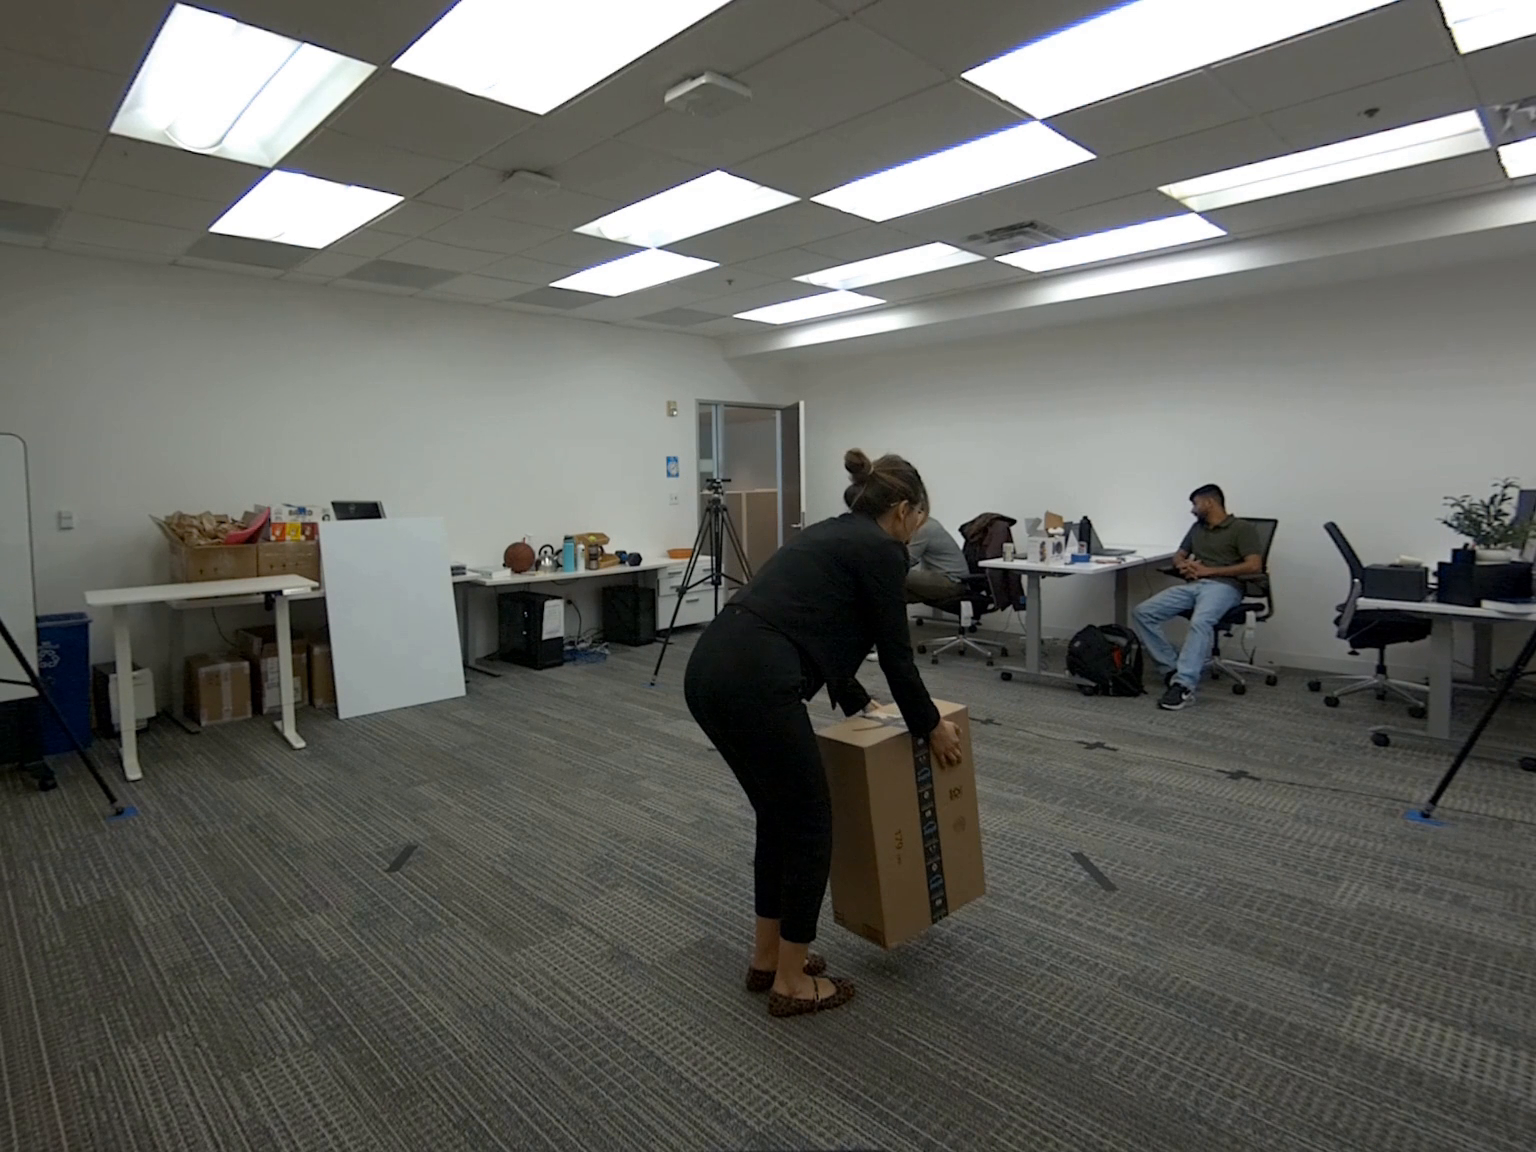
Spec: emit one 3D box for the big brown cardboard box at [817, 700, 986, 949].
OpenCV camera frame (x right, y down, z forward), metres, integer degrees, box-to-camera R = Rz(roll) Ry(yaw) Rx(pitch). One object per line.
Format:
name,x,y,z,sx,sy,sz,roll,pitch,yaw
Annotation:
big brown cardboard box,0.381,0.687,2.473,0.408,0.586,0.239,-10,7,-34
